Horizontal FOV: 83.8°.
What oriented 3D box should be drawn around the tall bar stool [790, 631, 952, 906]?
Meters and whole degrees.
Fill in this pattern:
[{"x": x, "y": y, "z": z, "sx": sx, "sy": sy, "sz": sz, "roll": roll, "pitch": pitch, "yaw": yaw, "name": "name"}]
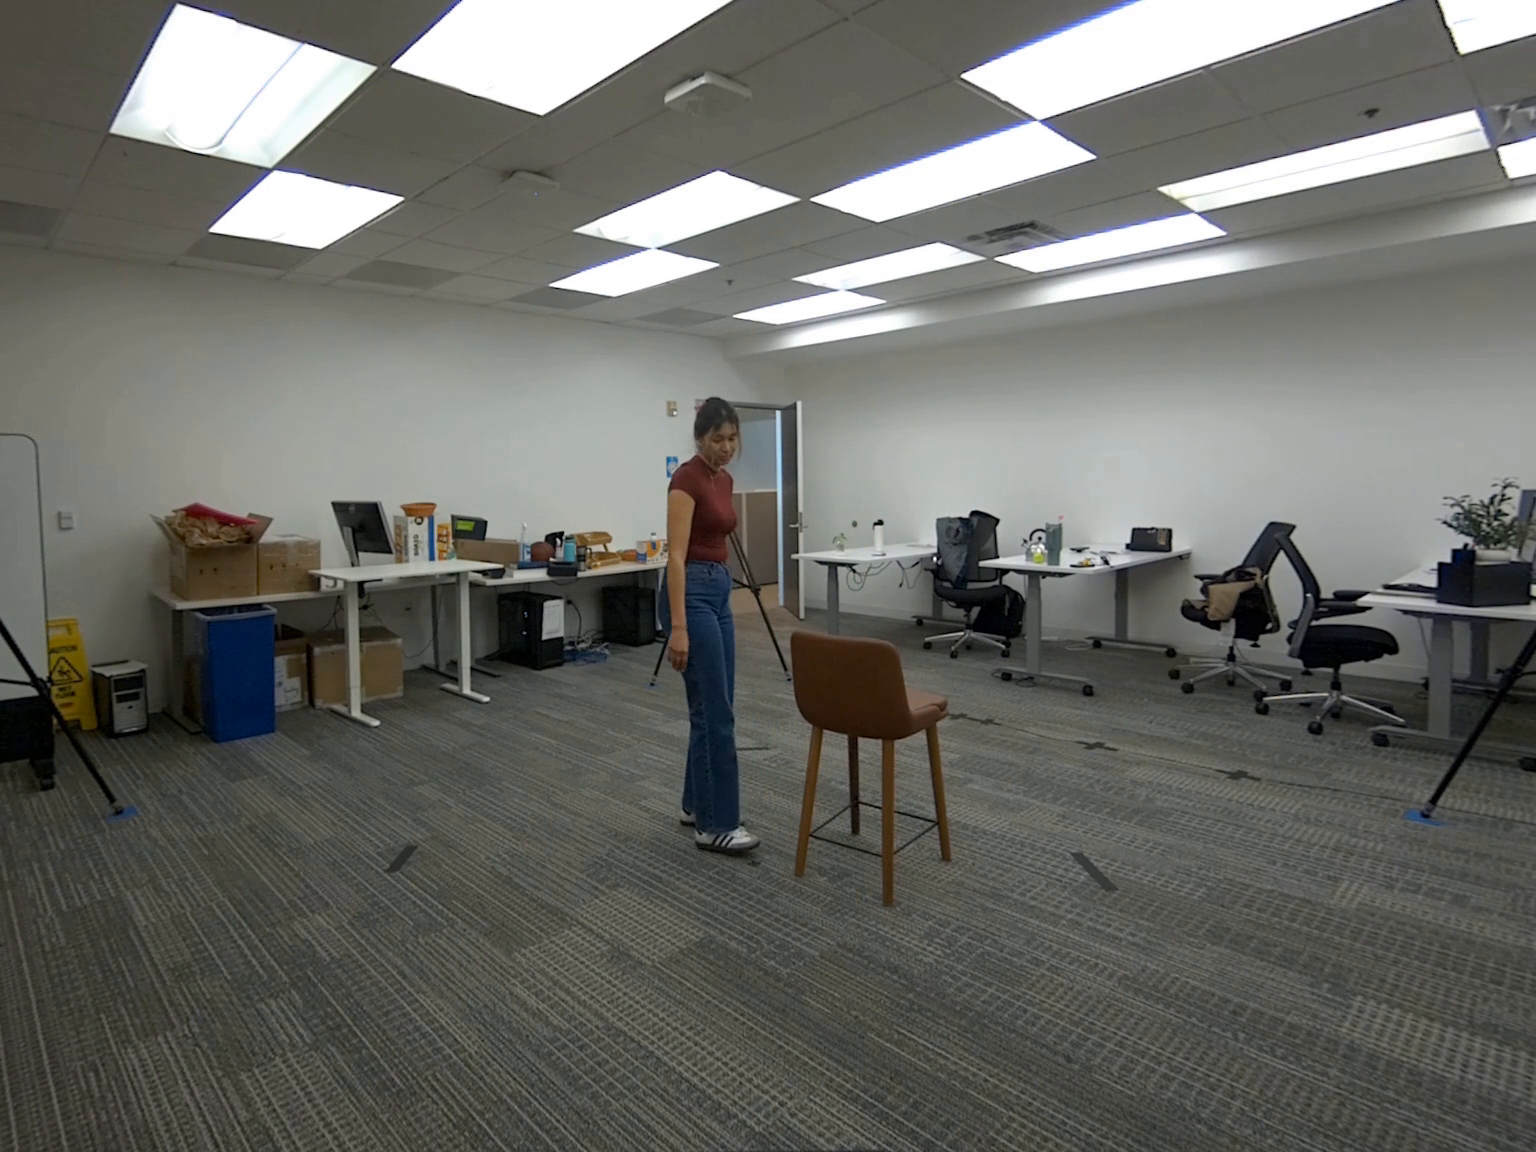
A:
[{"x": 0.369, "y": 0.616, "z": 3.030, "sx": 0.470, "sy": 0.886, "sz": 0.456, "roll": 2, "pitch": 6, "yaw": 38, "name": "tall bar stool"}]
